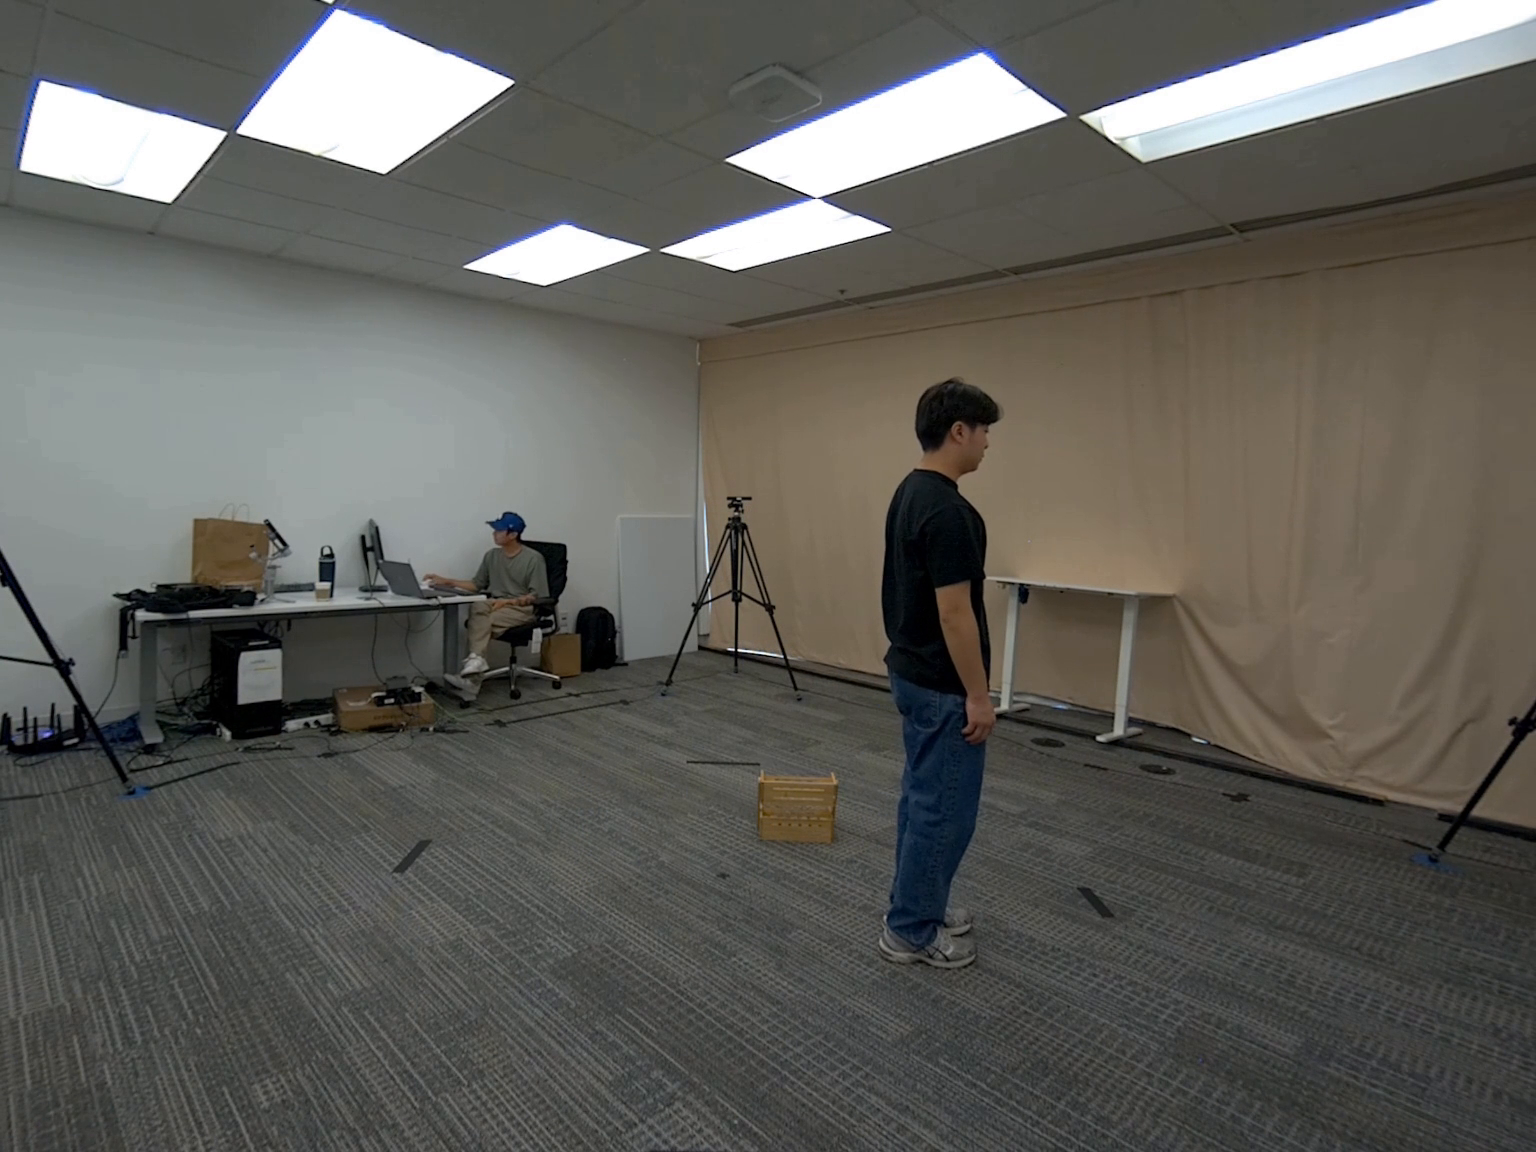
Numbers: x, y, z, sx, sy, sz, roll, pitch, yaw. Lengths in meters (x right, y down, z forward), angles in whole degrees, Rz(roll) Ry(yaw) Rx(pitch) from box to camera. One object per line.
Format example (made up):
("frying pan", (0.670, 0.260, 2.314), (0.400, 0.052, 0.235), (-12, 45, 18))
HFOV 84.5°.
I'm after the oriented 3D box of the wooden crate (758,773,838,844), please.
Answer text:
("wooden crate", (0.112, 0.942, 3.537), (0.325, 0.273, 0.302), (1, 3, 0))
